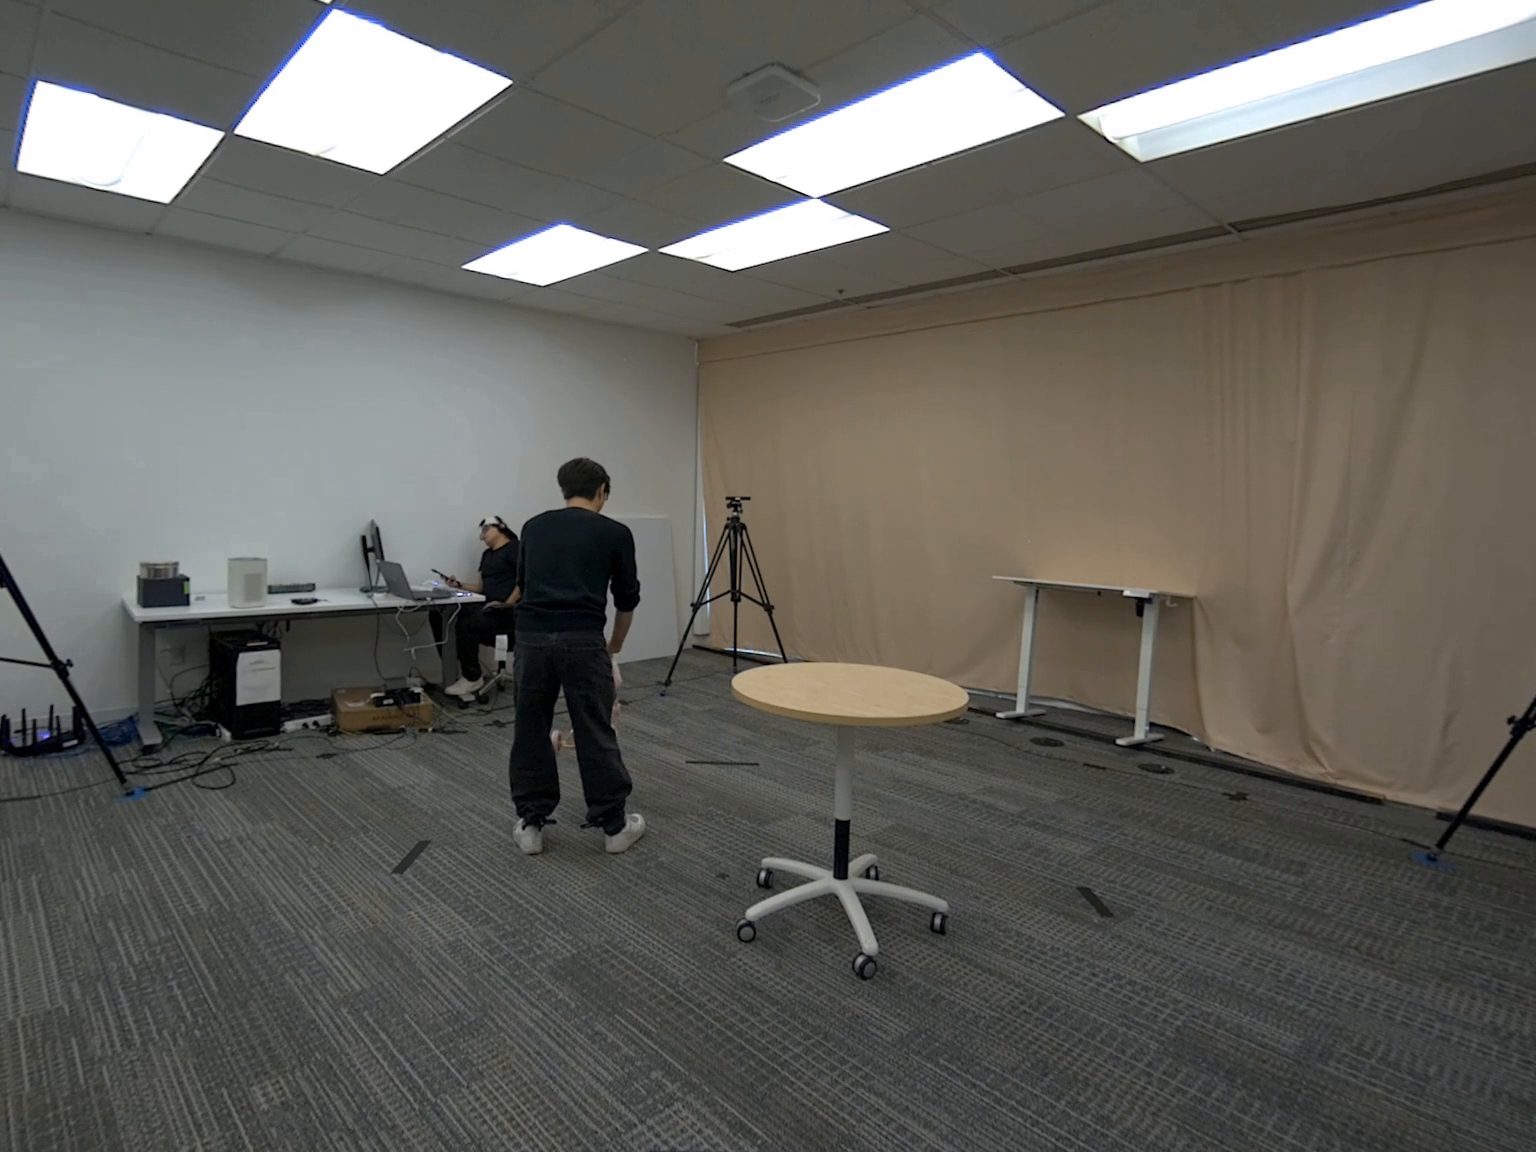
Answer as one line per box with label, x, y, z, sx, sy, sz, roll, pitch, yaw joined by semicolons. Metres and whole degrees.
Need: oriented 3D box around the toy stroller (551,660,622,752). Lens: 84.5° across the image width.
toy stroller;-0.773;0.581;3.716;0.283;0.538;0.337;1;-9;7
